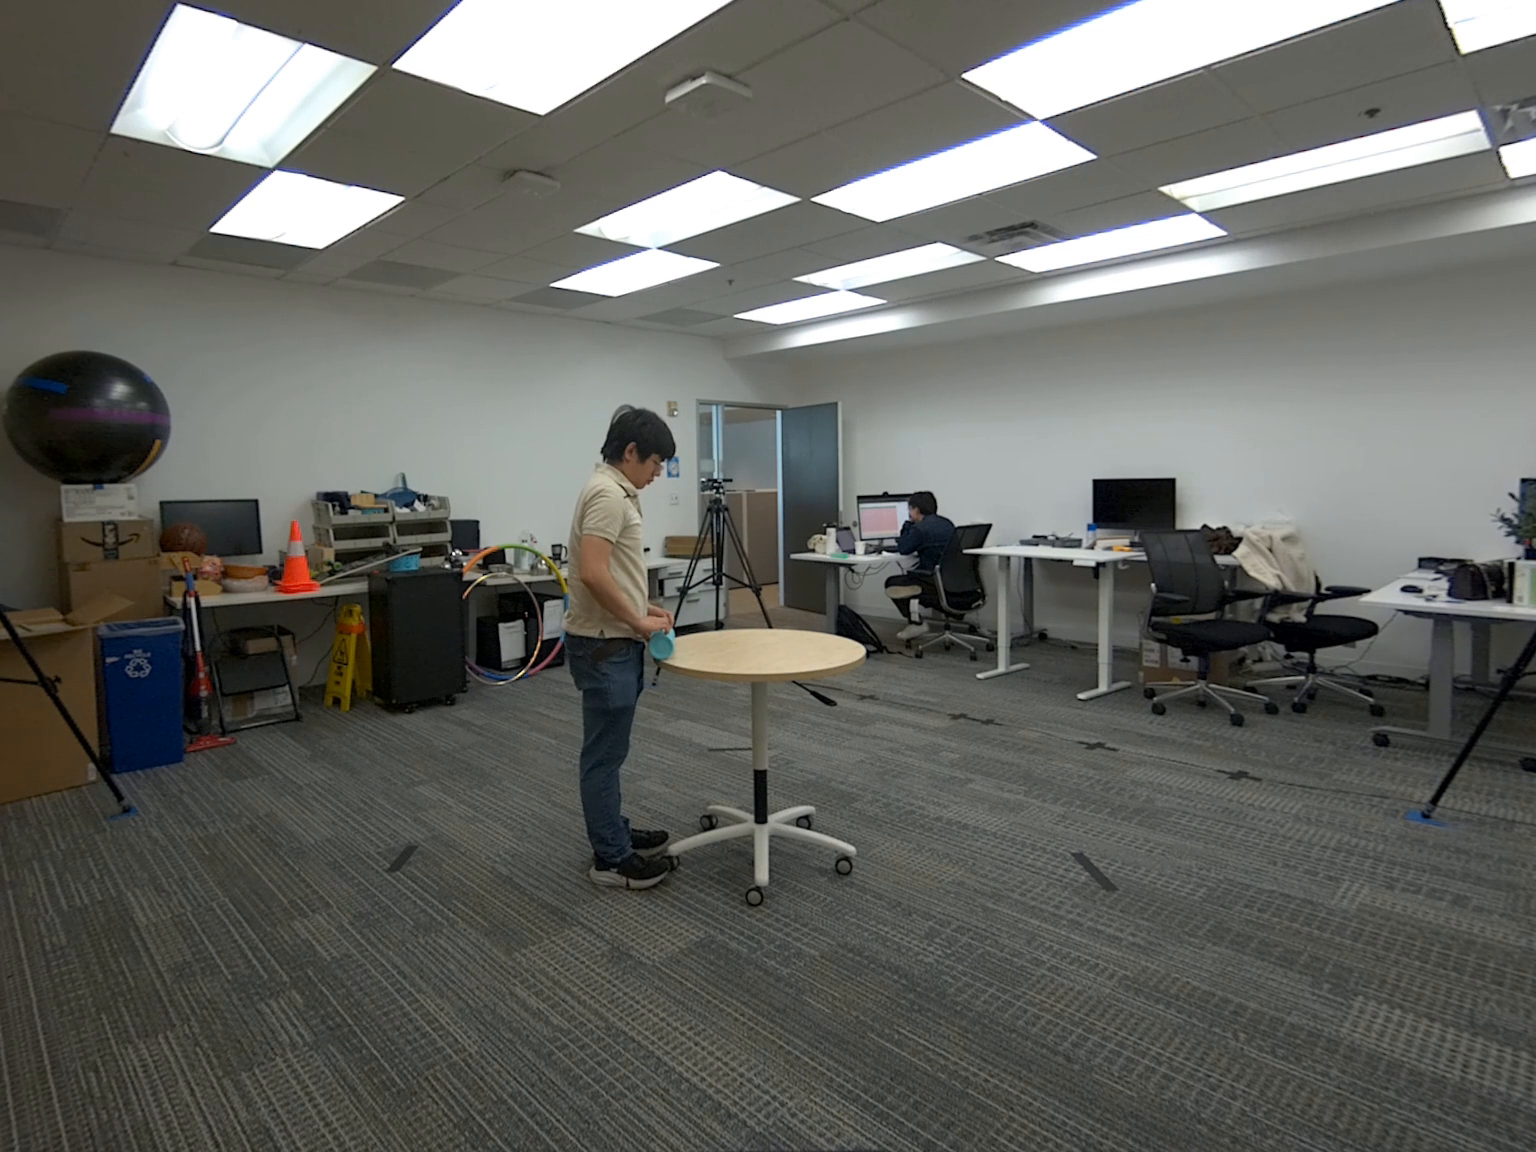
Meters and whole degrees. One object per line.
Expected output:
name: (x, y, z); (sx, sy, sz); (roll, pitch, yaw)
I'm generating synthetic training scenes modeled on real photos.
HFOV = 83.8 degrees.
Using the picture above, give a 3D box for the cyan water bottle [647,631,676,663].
cyan water bottle: (-0.384, 0.229, 3.045); (0.092, 0.092, 0.285); (-1, 6, -3)
